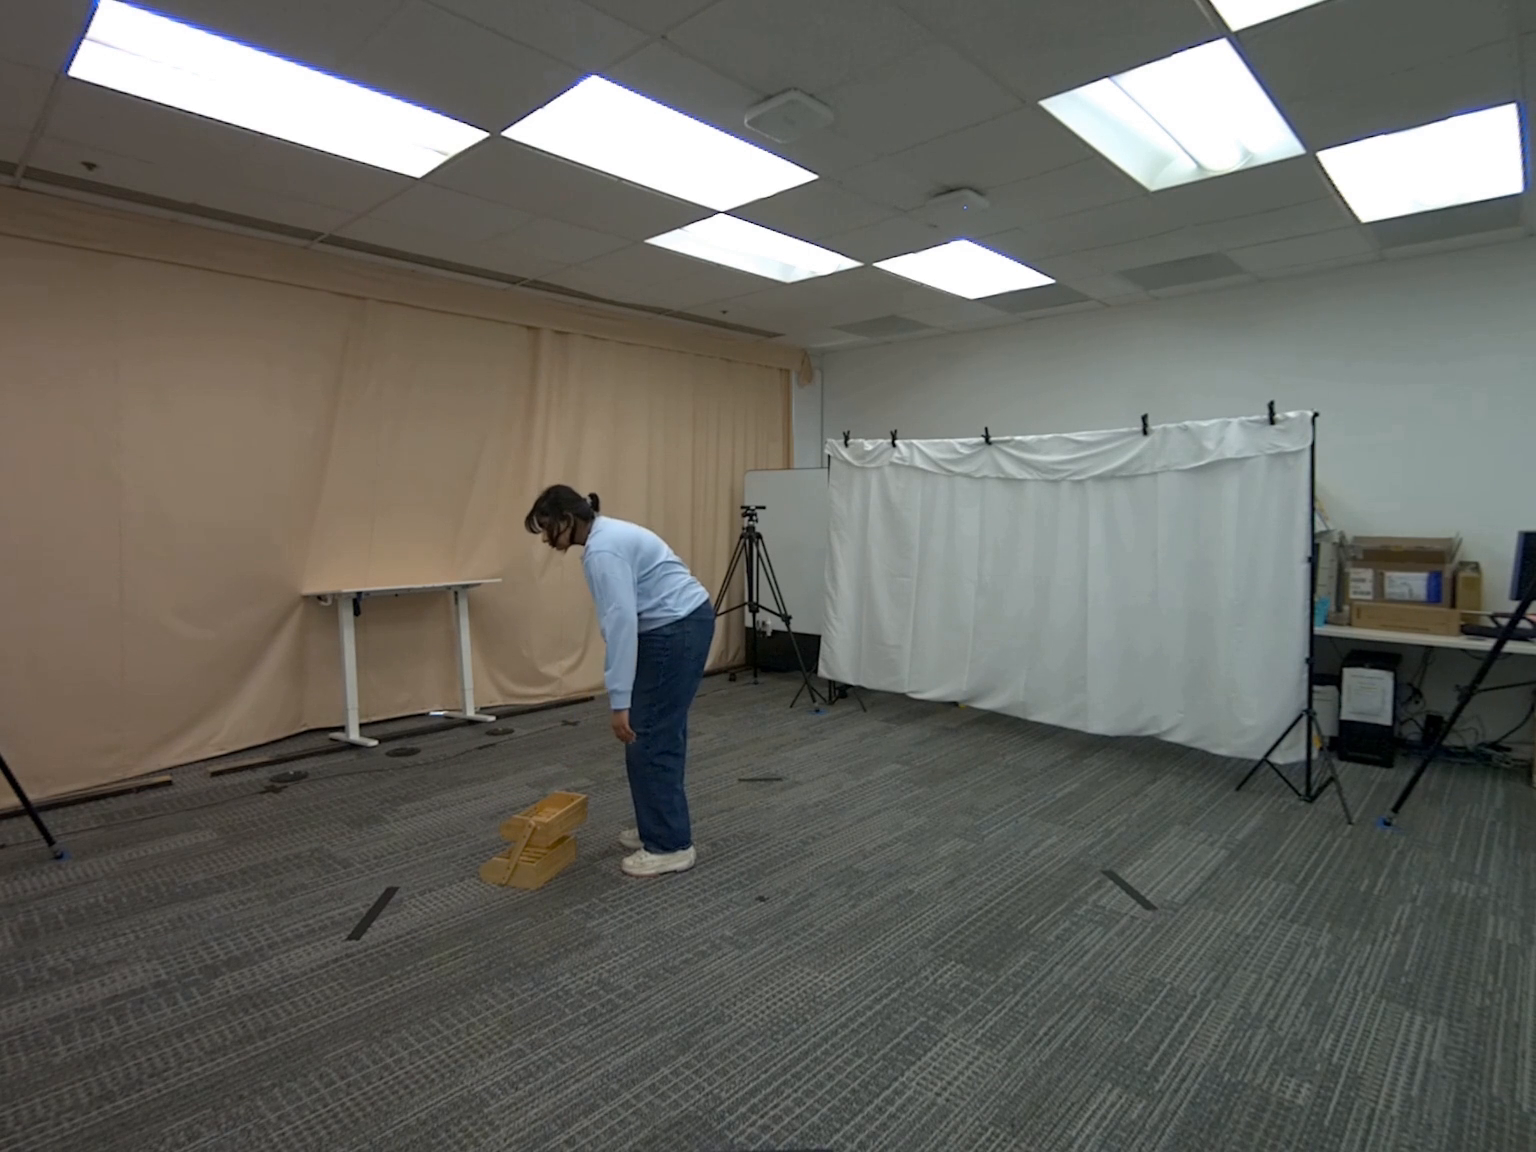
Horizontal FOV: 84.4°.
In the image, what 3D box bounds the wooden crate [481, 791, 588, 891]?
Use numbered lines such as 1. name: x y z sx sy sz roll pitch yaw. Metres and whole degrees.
1. wooden crate: -0.911 1.003 3.225 0.308 0.273 0.319 2 4 16
